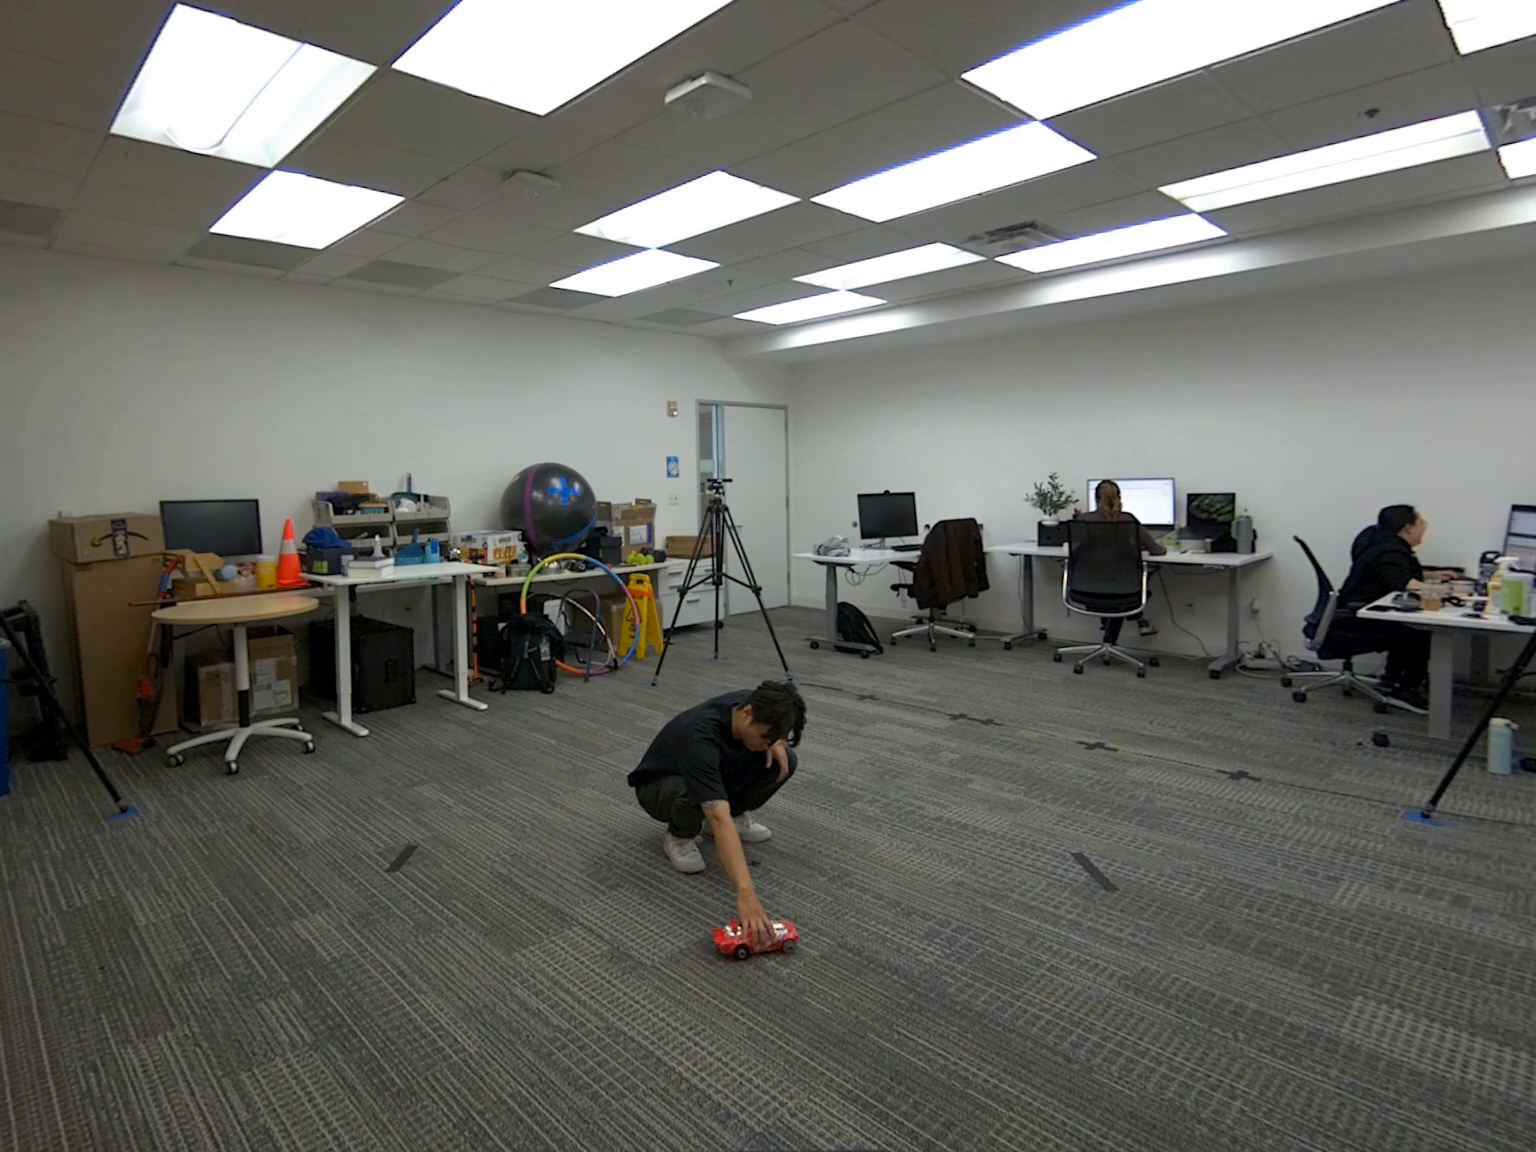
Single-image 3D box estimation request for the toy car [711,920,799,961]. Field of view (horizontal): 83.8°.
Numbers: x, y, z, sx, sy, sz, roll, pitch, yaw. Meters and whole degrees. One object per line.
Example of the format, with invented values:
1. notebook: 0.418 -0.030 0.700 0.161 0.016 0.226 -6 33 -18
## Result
1. toy car: -0.050 1.086 2.549 0.250 0.083 0.132 9 3 -15
